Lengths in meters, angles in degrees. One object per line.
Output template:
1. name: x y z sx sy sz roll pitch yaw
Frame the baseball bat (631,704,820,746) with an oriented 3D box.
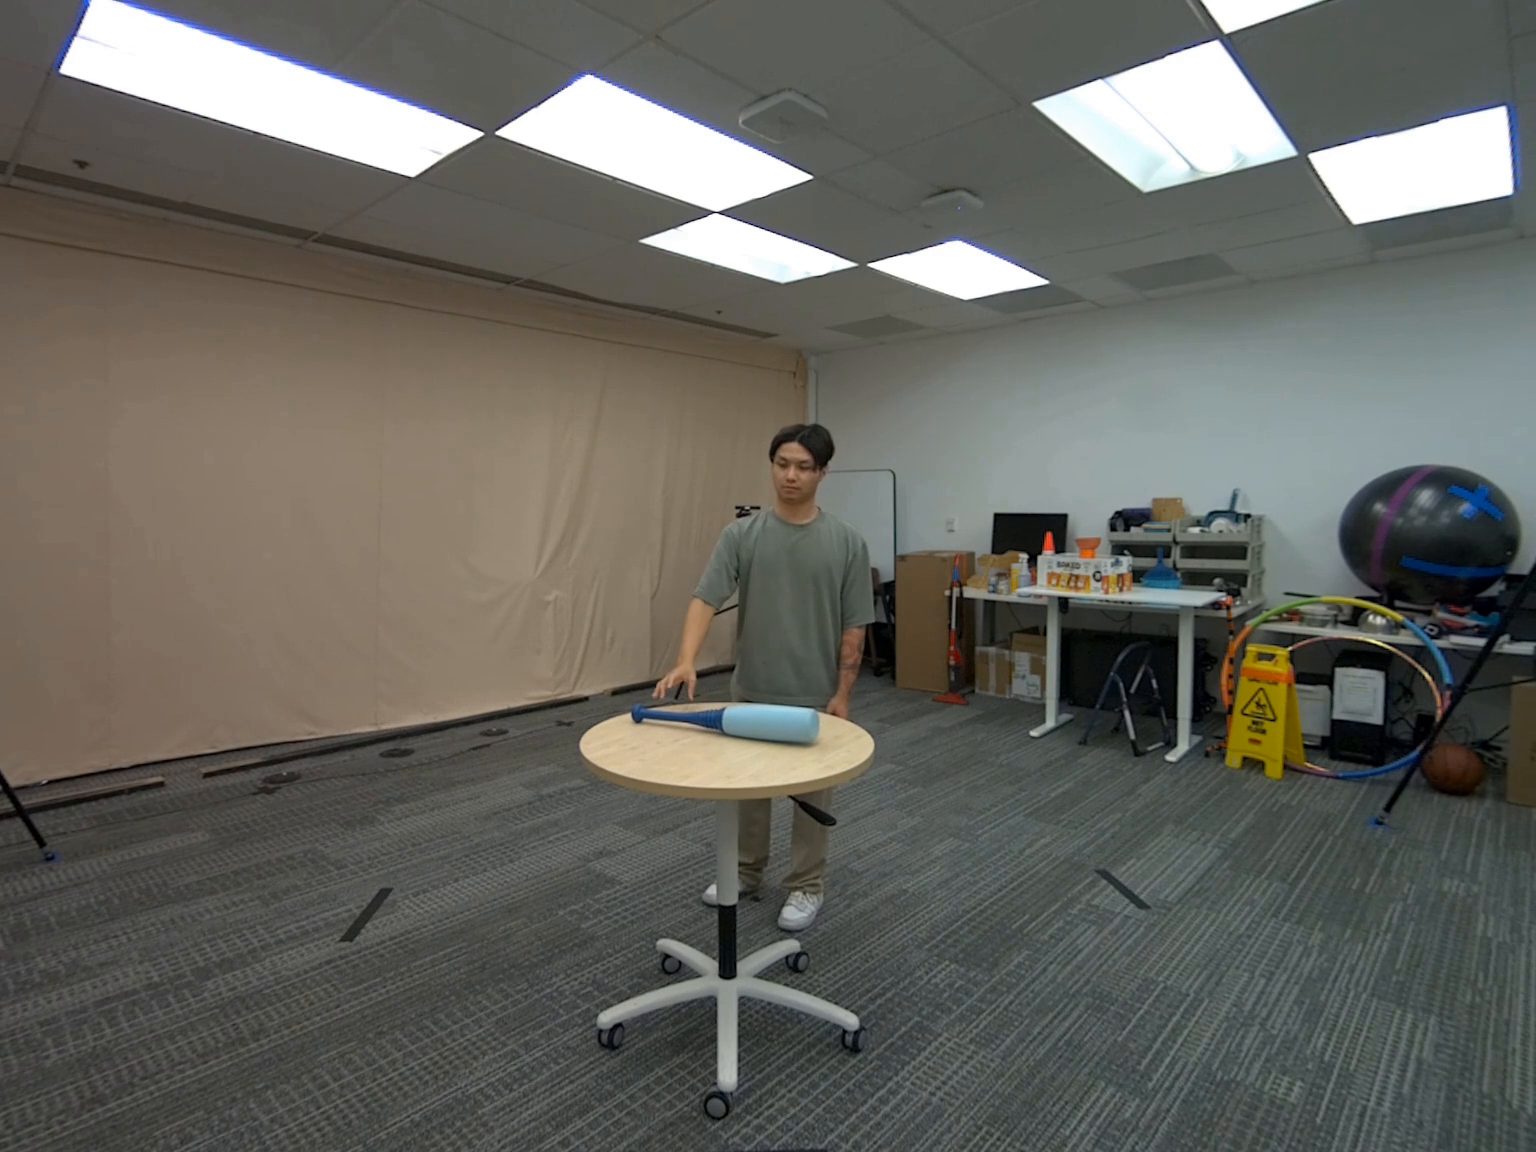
1. baseball bat: -0.127 0.387 2.254 0.556 0.089 0.087 -1 3 25
